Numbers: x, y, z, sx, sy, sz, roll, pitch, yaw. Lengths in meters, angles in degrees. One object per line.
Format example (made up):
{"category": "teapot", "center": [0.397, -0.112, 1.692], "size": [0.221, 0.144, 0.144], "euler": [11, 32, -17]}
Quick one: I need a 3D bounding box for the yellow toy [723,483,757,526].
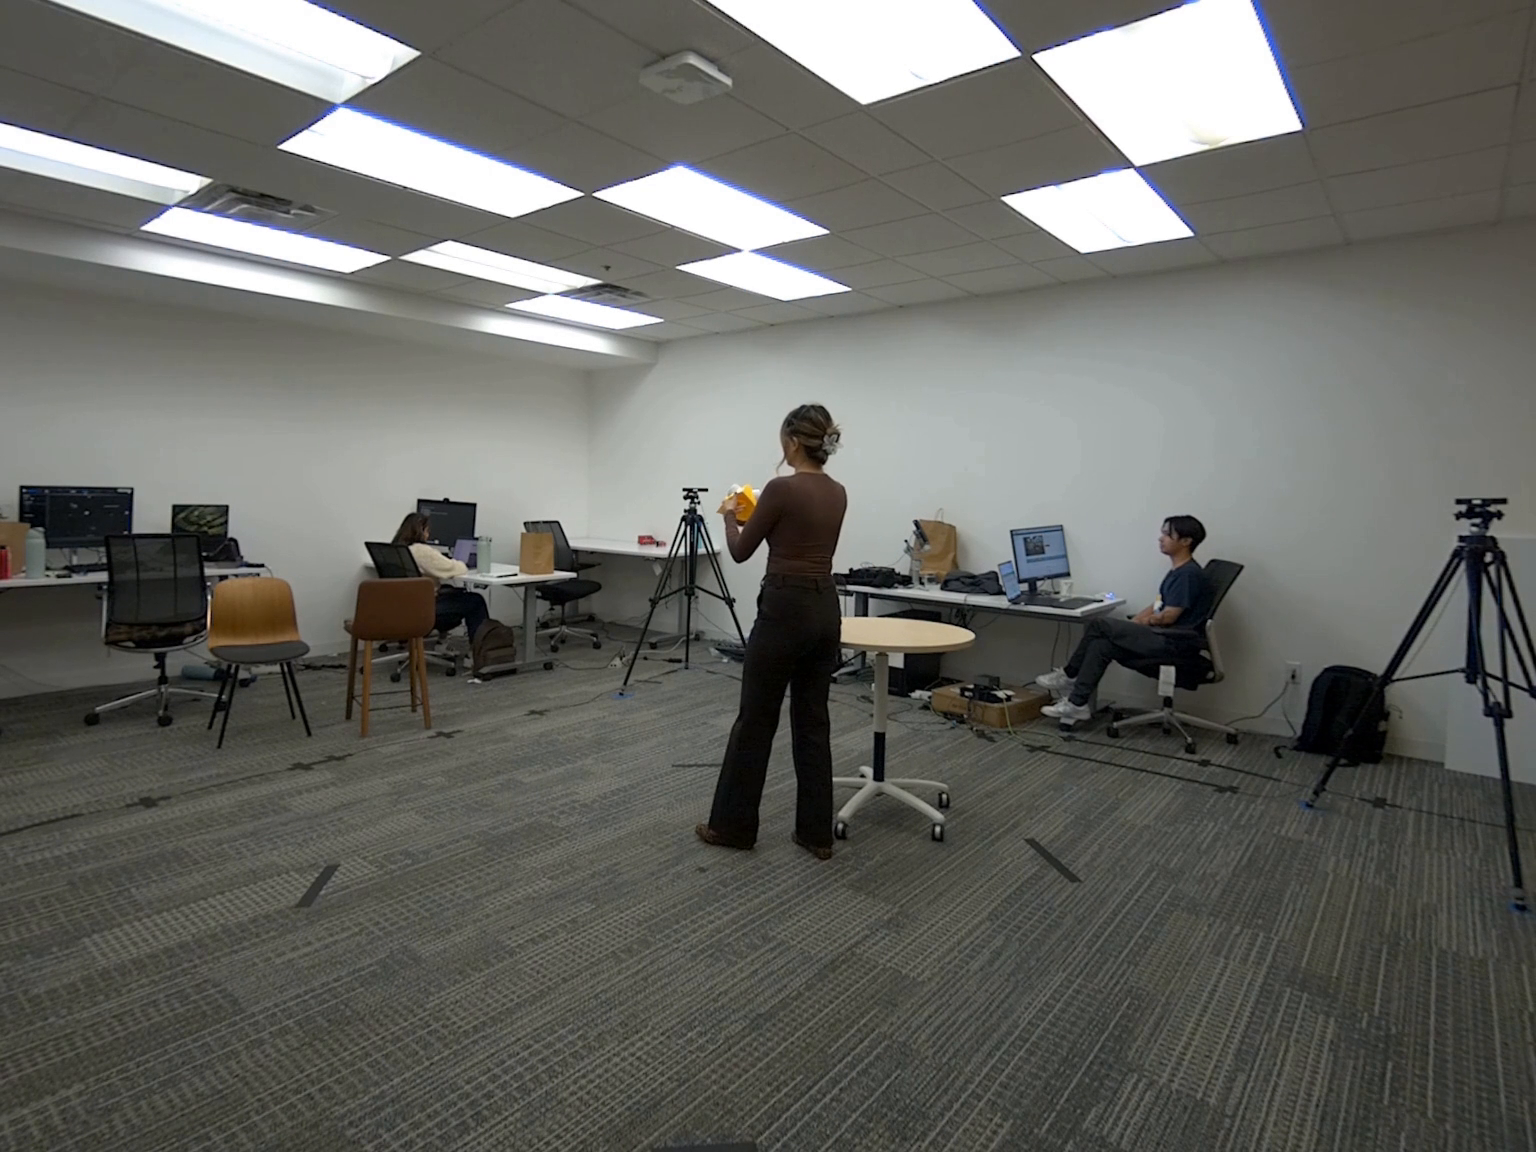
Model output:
{"category": "yellow toy", "center": [-0.108, -0.338, 3.604], "size": [0.208, 0.195, 0.224], "euler": [16, -33, 9]}
